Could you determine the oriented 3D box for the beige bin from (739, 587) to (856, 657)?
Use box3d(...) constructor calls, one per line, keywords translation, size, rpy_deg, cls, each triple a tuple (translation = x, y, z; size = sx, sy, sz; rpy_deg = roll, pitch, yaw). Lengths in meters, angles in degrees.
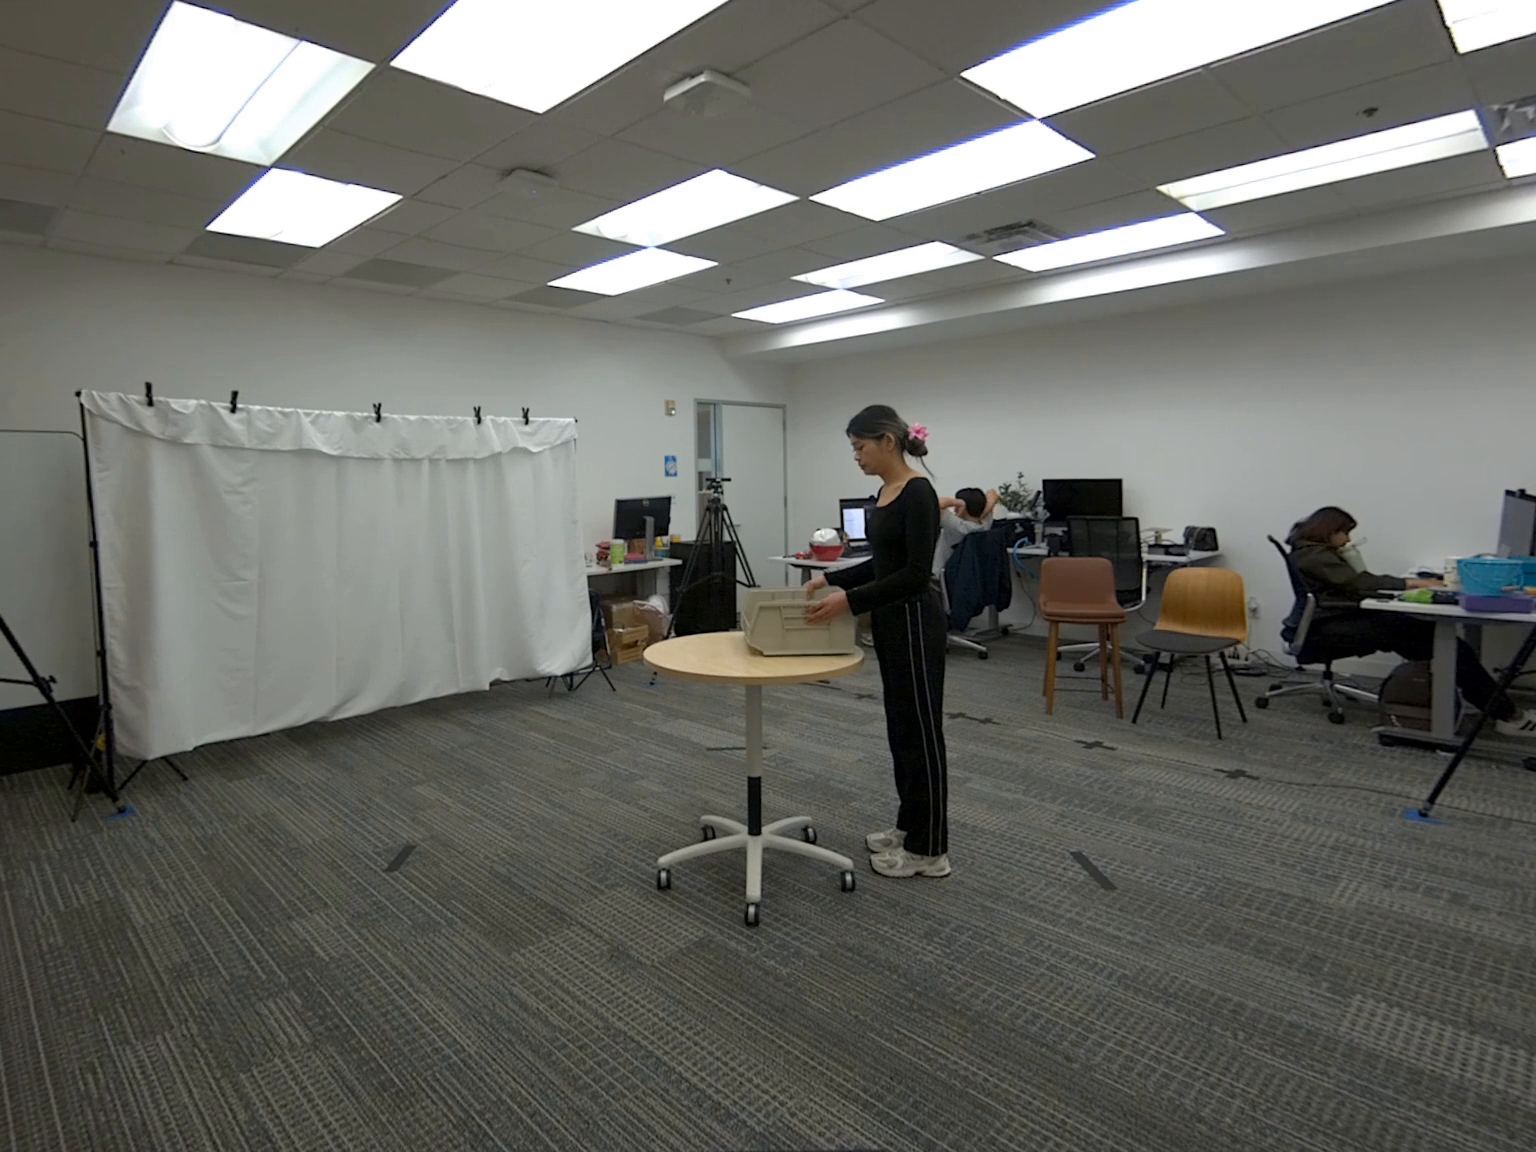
box3d(translation=(0.102, 0.153, 3.086), size=(0.377, 0.188, 0.424), rpy_deg=(-1, 4, -2), cls="beige bin")
